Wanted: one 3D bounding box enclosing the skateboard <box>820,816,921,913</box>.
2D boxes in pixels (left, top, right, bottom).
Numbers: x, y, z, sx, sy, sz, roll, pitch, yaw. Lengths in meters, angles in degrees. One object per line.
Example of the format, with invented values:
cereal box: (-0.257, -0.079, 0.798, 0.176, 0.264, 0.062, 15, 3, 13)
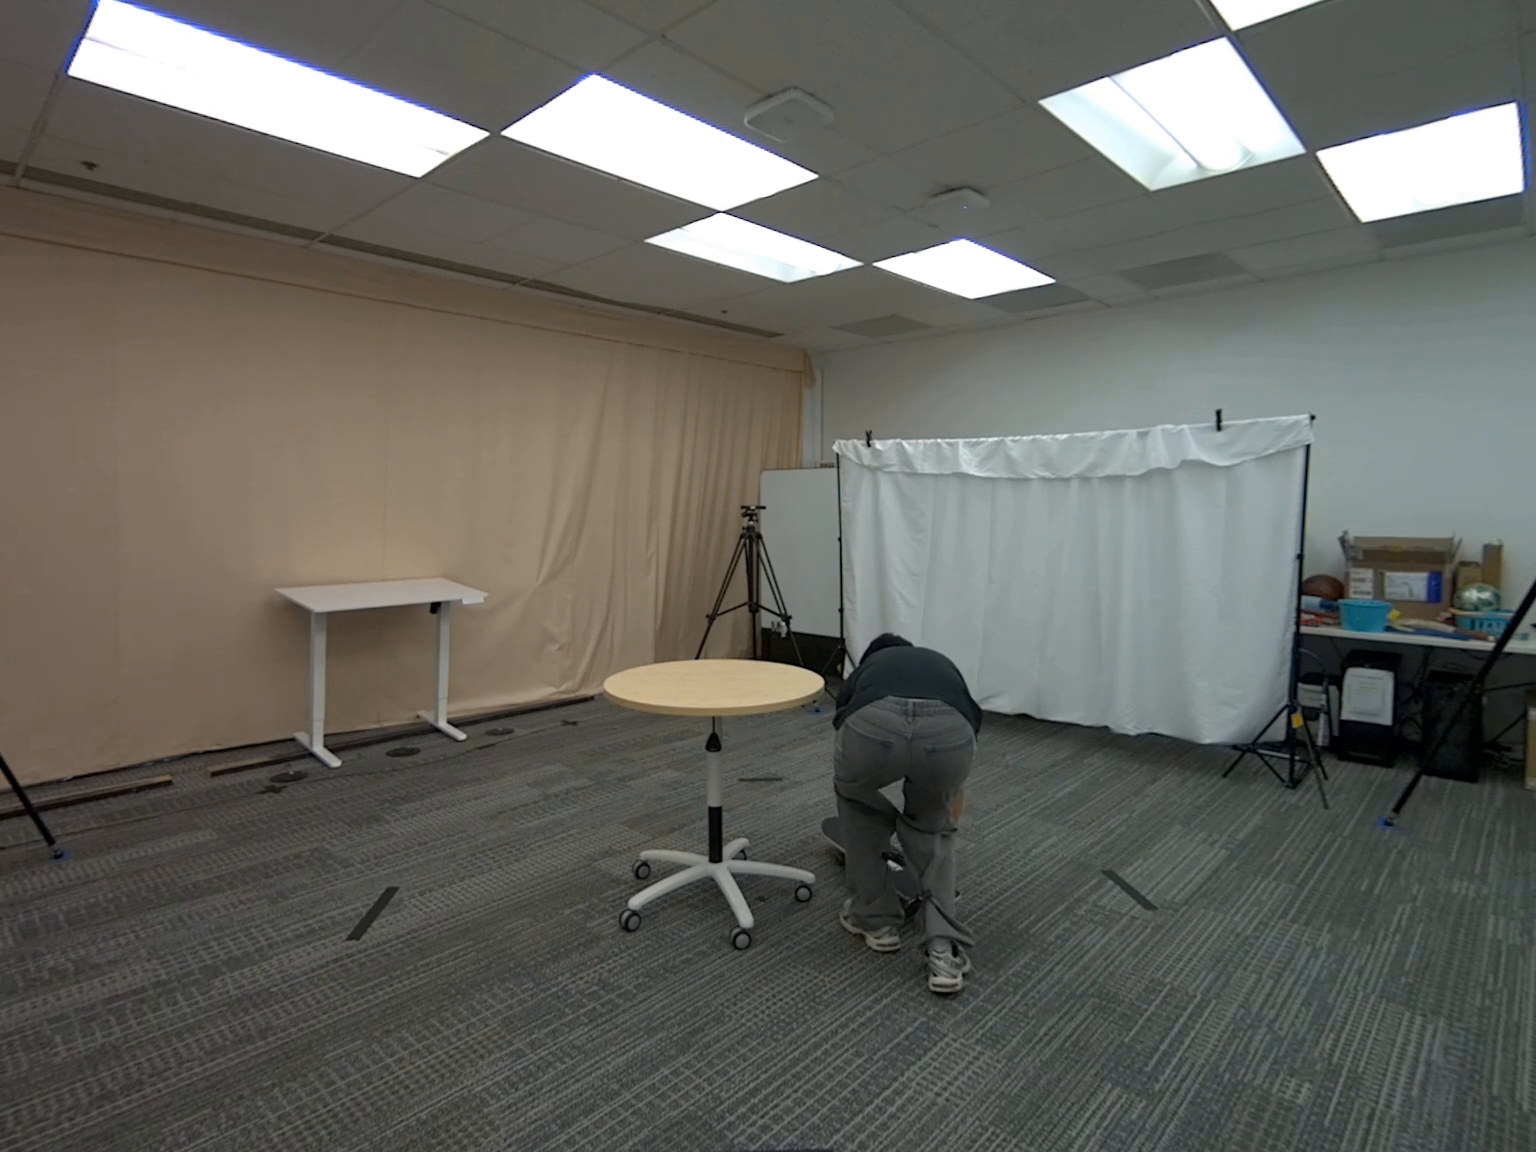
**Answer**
skateboard: (0.427, 1.070, 3.103, 0.189, 0.110, 0.804, -2, 5, -23)
